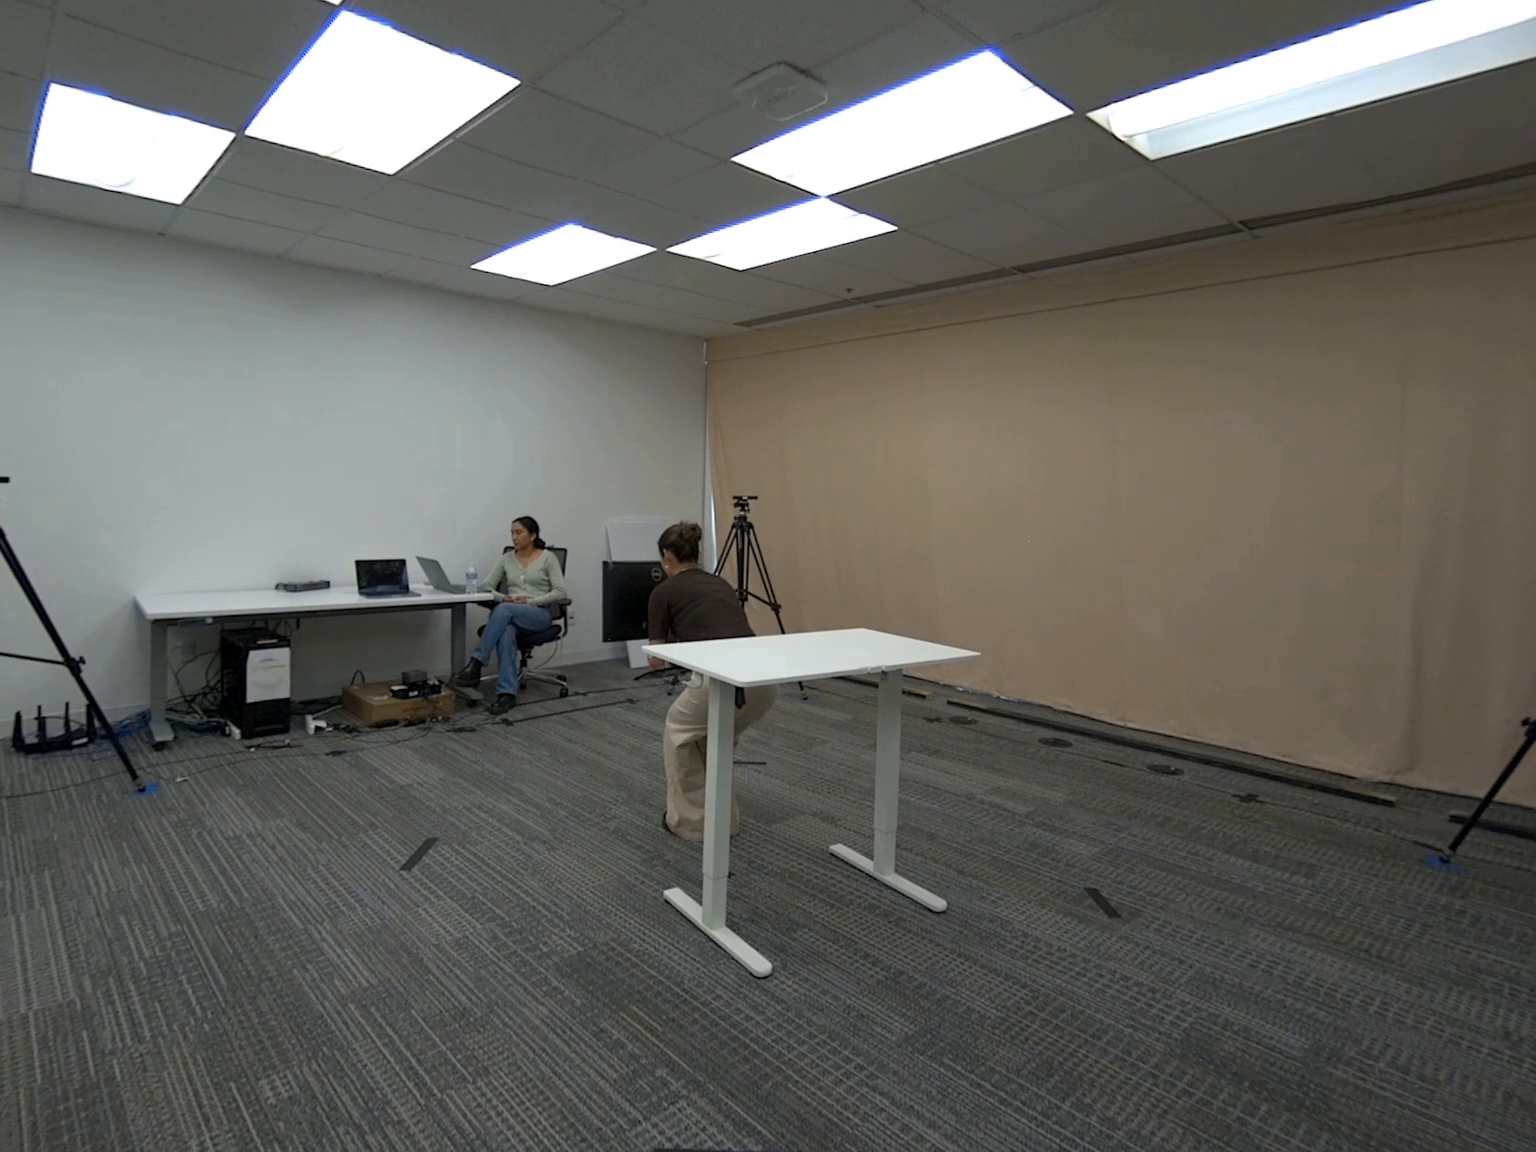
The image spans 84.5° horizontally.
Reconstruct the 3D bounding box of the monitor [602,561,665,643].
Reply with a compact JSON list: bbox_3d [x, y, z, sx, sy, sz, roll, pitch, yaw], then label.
[{"bbox_3d":[-0.486,0.191,3.759,0.190,0.528,0.526,-21,-14,41],"label":"monitor"}]
